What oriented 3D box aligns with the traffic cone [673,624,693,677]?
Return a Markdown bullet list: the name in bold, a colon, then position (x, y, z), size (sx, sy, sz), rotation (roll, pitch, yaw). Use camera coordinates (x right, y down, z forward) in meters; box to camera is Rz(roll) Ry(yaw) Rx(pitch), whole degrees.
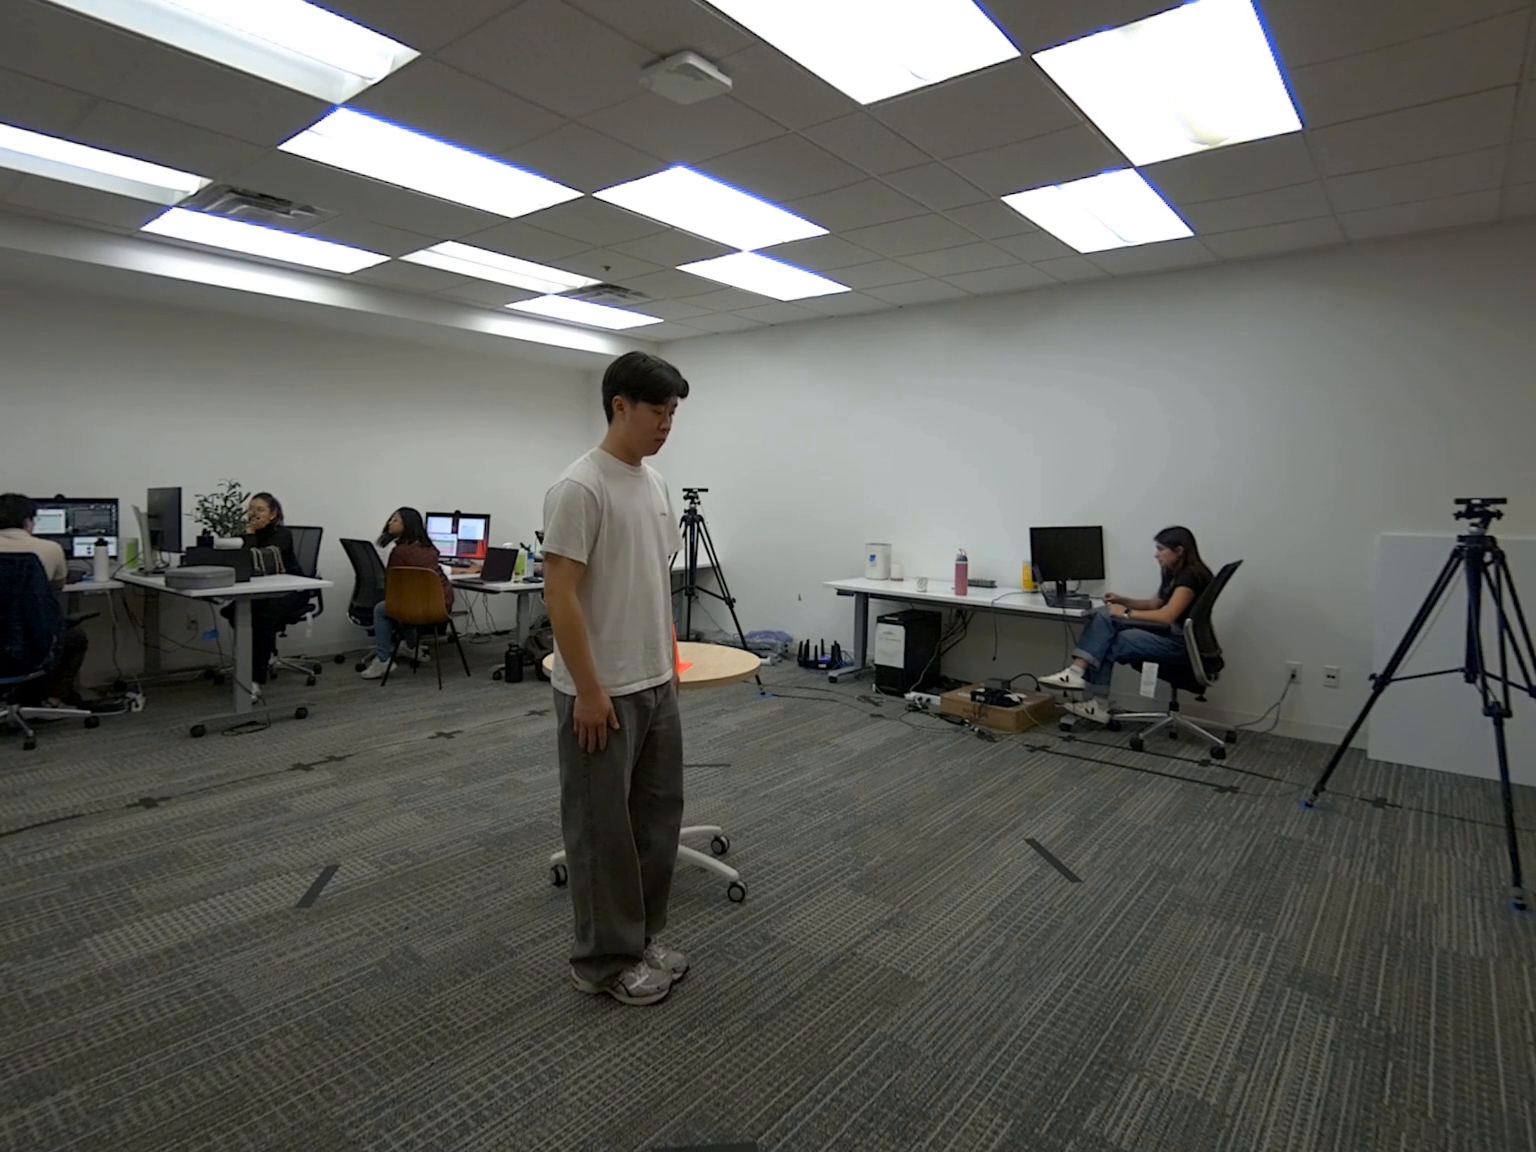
- **traffic cone**: position (-0.358, 0.118, 2.848), size (0.208, 0.382, 0.201), rotation (5, 5, 12)
